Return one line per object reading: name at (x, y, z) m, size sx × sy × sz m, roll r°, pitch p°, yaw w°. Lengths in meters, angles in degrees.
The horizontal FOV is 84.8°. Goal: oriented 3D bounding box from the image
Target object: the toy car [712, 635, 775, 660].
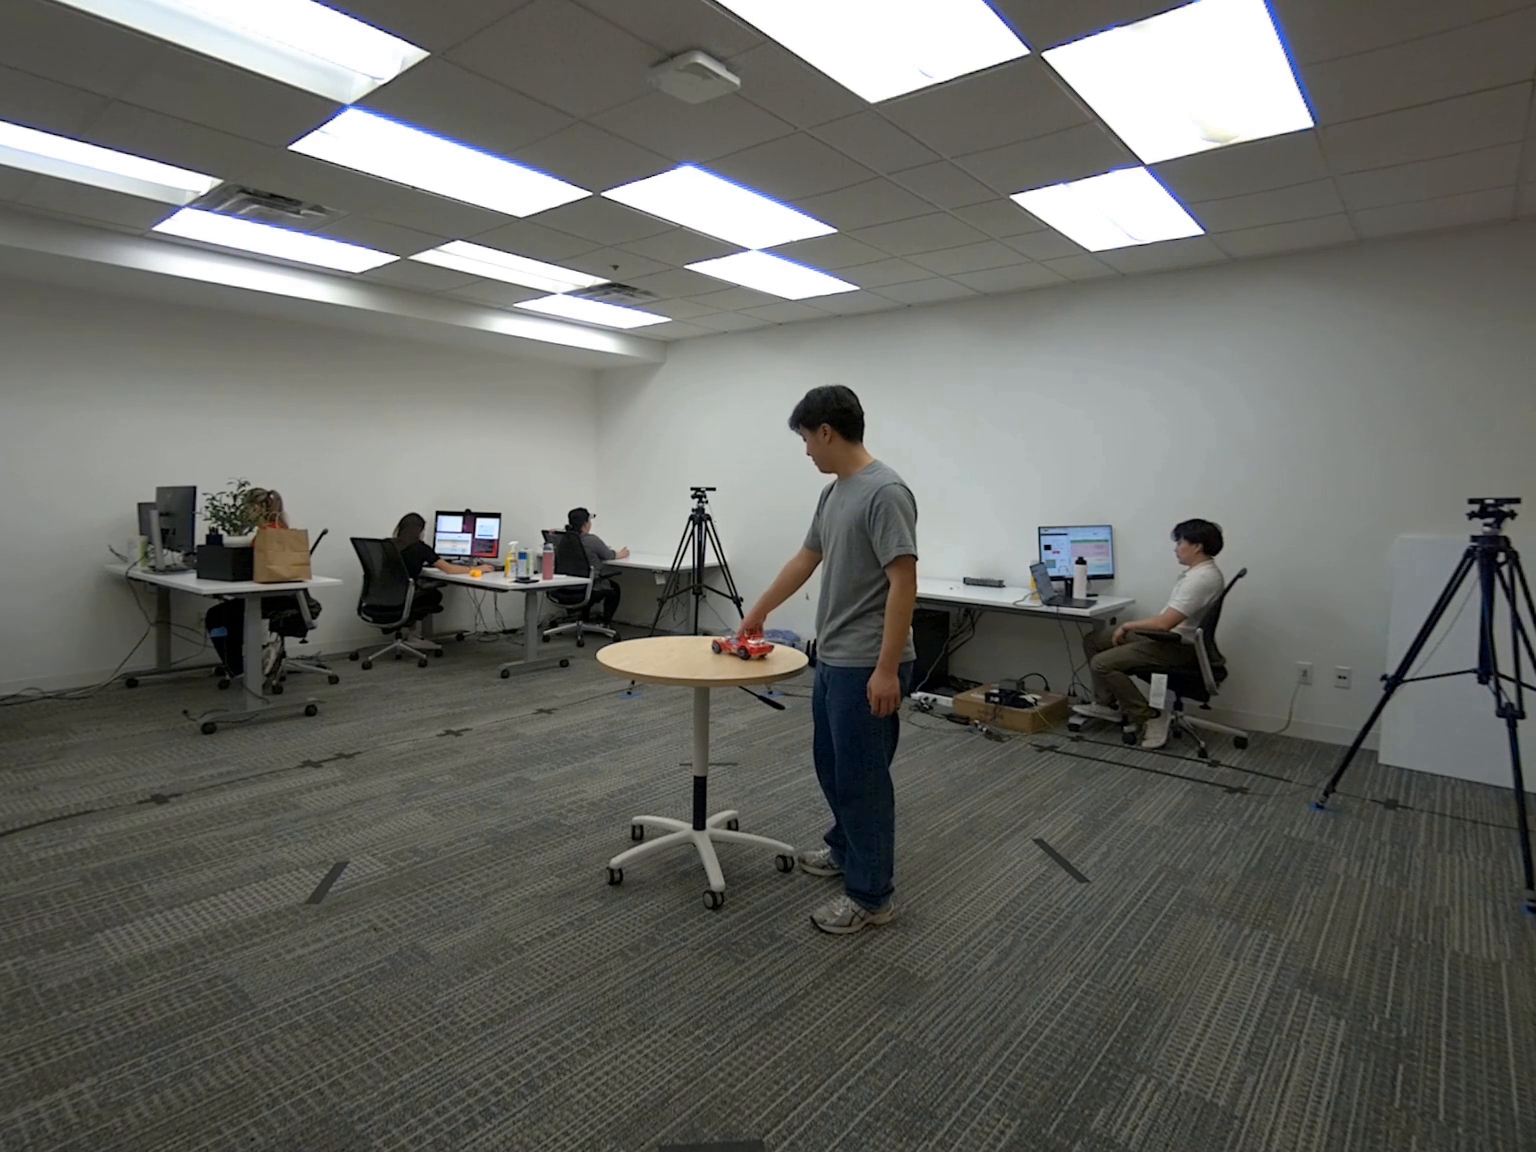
toy car at (-0.100, 0.256, 3.091) m, size 0.126 × 0.083 × 0.261 m, roll -3°, pitch -4°, yaw -45°
